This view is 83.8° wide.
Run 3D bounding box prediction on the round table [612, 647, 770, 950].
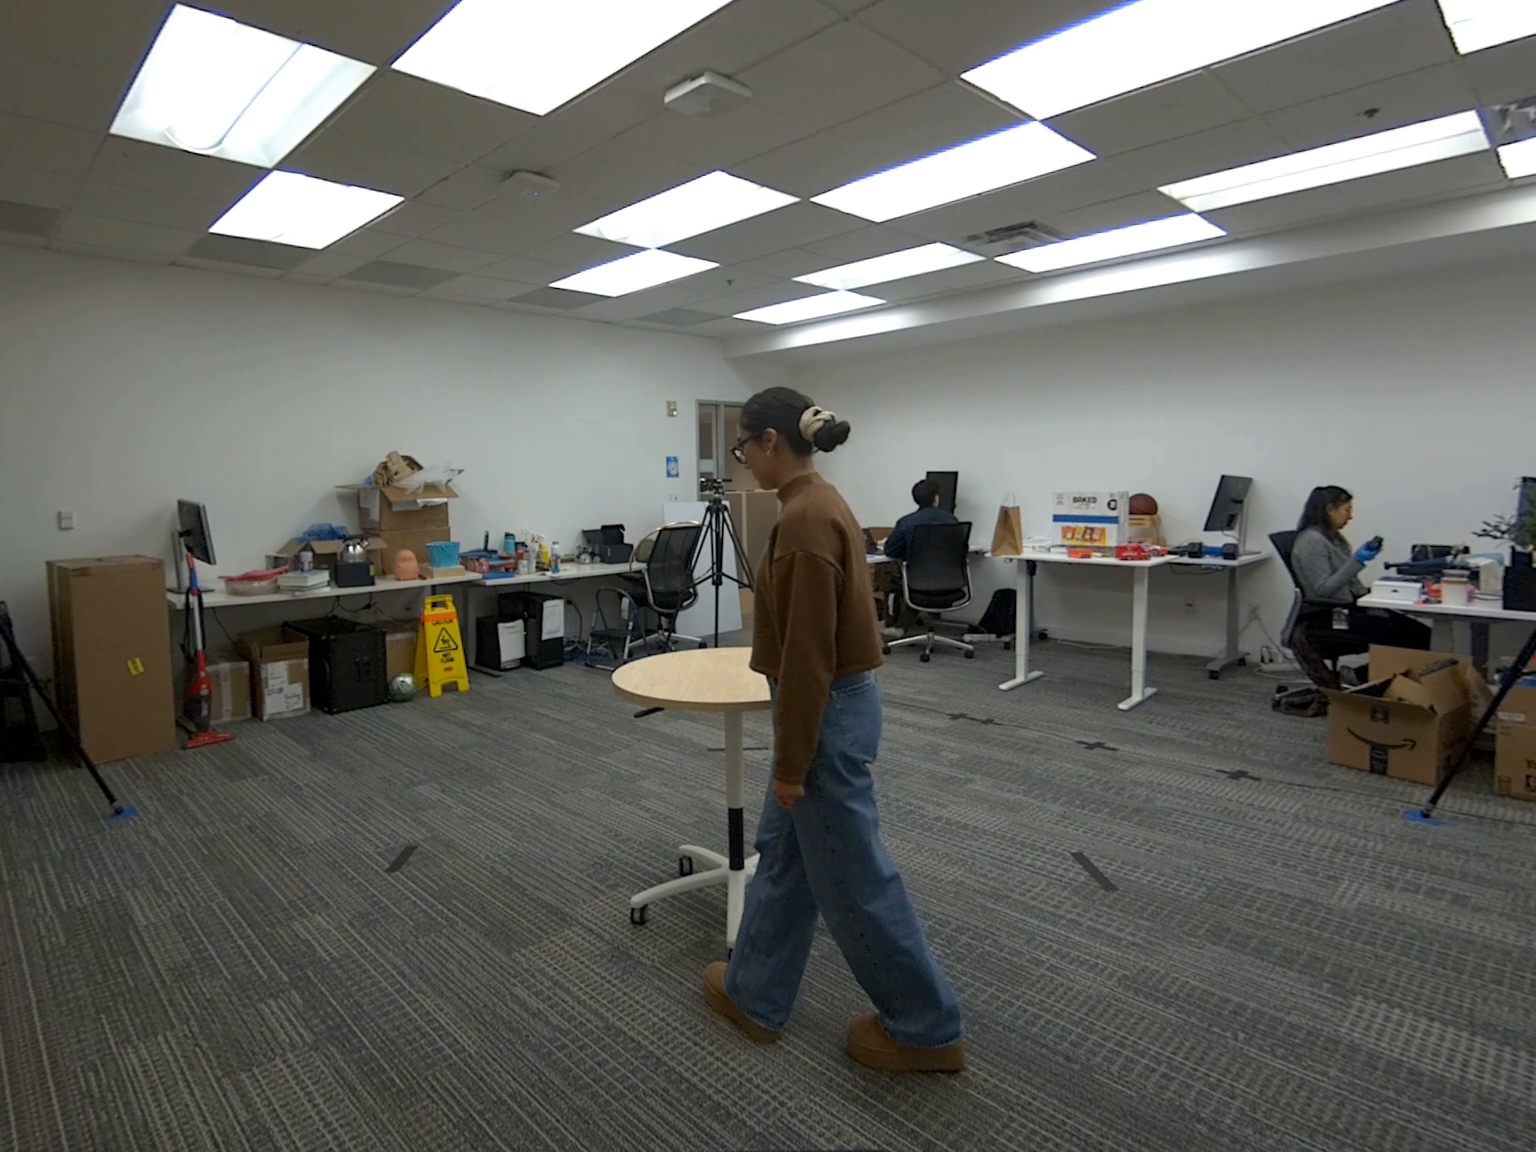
[{"bbox_3d":[-0.104,0.696,2.756,0.763,0.791,0.768,-1,5,-2],"label":"round table"}]
